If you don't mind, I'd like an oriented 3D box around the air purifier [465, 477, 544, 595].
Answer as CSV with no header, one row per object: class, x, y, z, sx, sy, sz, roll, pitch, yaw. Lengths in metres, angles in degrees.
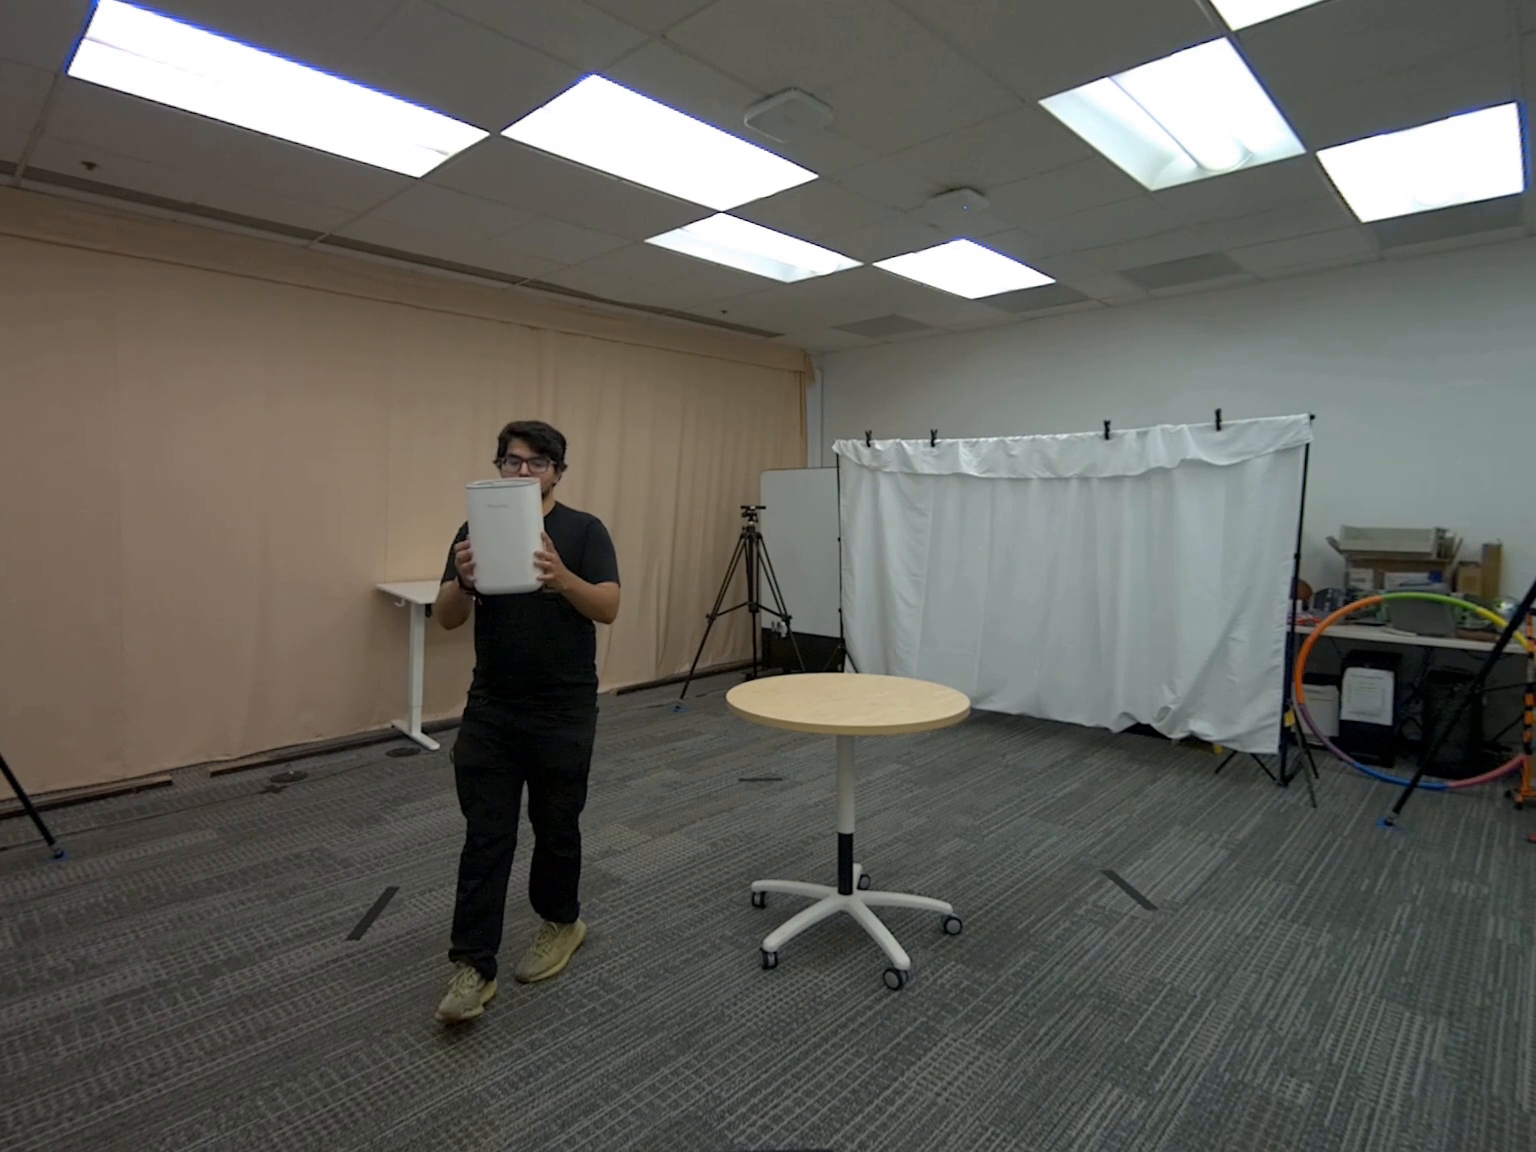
air purifier,-0.638,-0.098,2.058,0.170,0.263,0.174,-1,11,-5
